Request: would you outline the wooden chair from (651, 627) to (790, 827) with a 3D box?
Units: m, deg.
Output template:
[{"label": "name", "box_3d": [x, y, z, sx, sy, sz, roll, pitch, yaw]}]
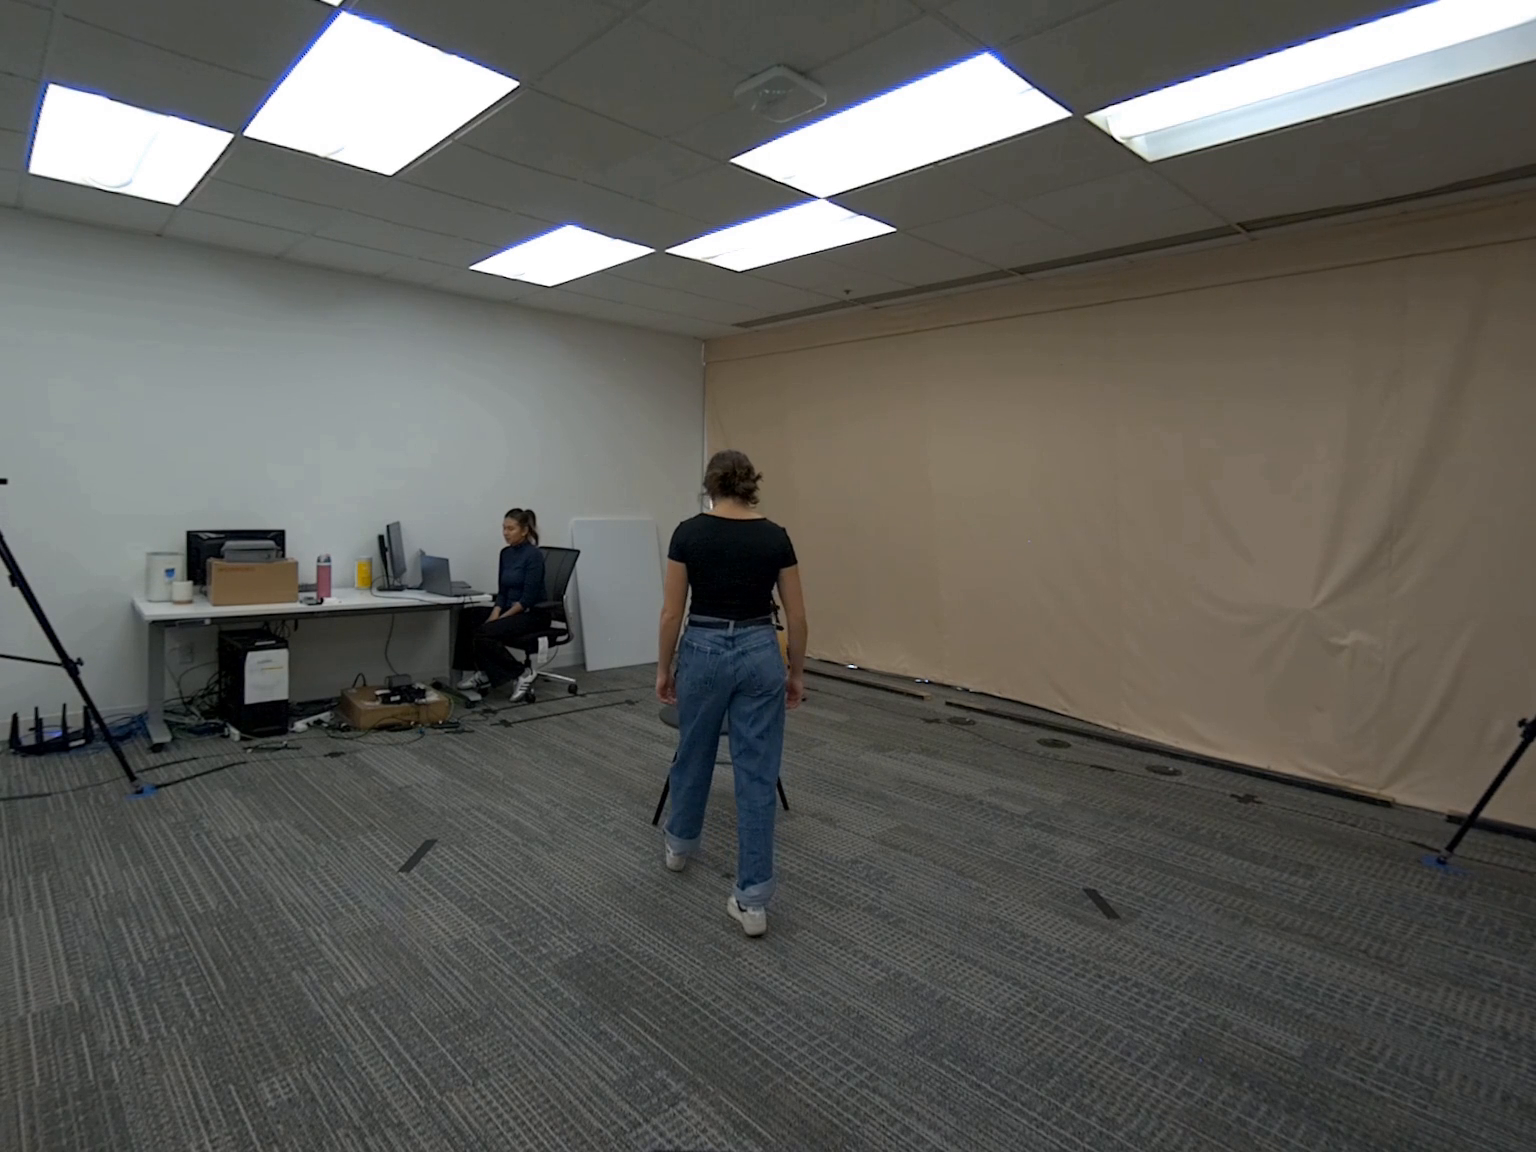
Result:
[{"label": "wooden chair", "box_3d": [-0.190, 0.636, 3.650, 0.487, 0.878, 0.513, 3, -1, 24]}]
